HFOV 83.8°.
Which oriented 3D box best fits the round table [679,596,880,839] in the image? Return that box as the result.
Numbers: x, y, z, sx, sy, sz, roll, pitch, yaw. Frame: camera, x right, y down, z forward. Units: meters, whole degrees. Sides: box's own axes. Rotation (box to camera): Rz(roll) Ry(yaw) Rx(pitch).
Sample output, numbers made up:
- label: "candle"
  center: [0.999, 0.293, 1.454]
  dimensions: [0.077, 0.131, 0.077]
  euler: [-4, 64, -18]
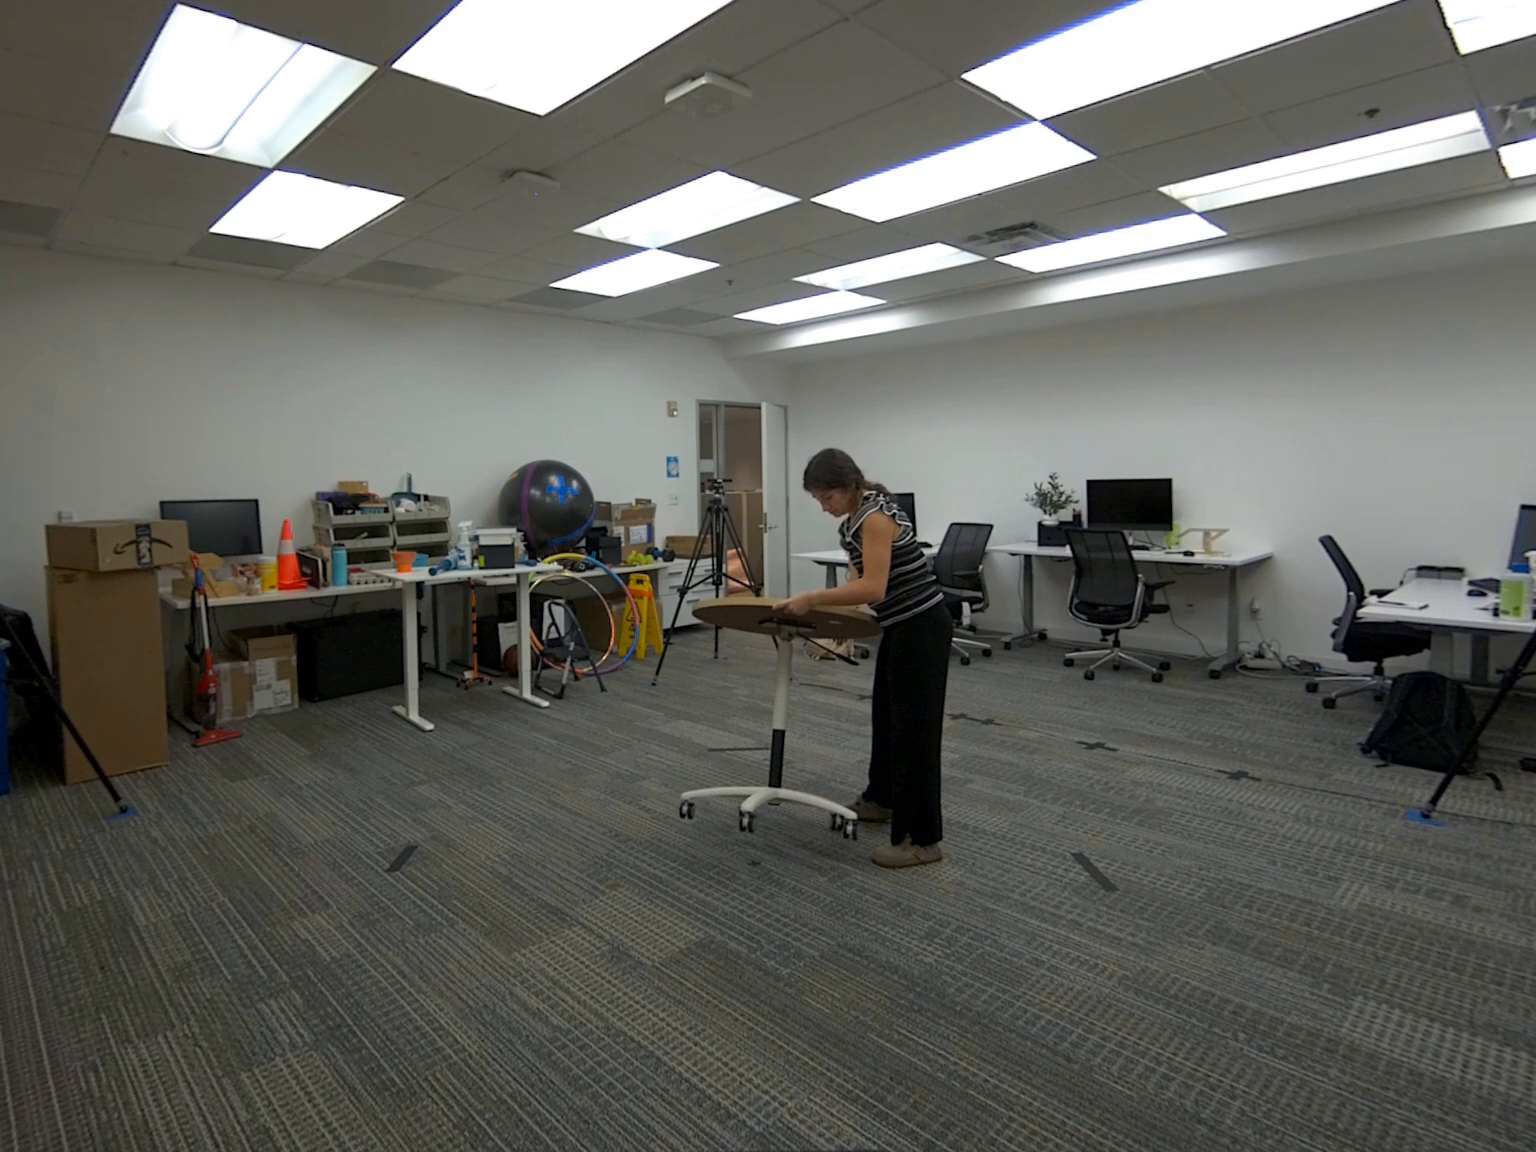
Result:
- label: "round table"
  center: [0.049, 0.548, 3.278]
  dimensions: [0.785, 0.795, 0.776]
  euler: [4, -13, -1]
